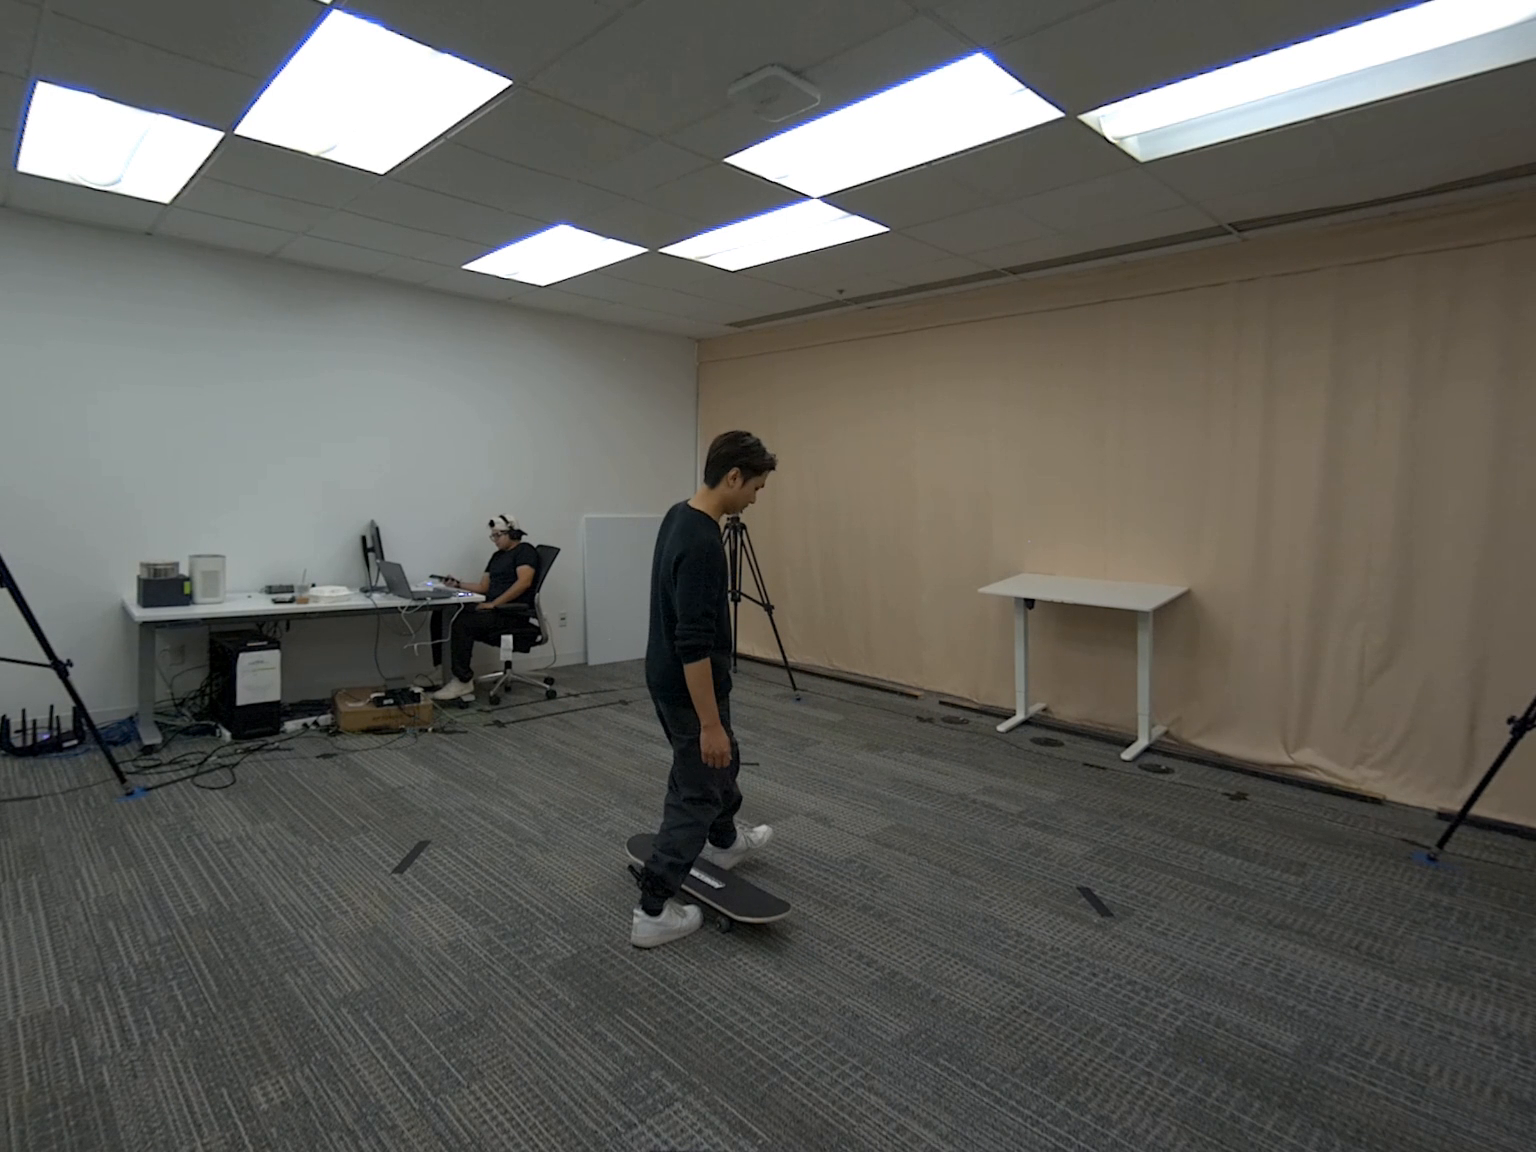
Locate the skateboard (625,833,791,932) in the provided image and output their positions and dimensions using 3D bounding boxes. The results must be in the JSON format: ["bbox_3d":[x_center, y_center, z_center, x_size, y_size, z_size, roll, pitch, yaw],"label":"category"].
[{"bbox_3d":[-0.235,1.067,2.897,0.189,0.110,0.806,-2,7,-43],"label":"skateboard"}]
